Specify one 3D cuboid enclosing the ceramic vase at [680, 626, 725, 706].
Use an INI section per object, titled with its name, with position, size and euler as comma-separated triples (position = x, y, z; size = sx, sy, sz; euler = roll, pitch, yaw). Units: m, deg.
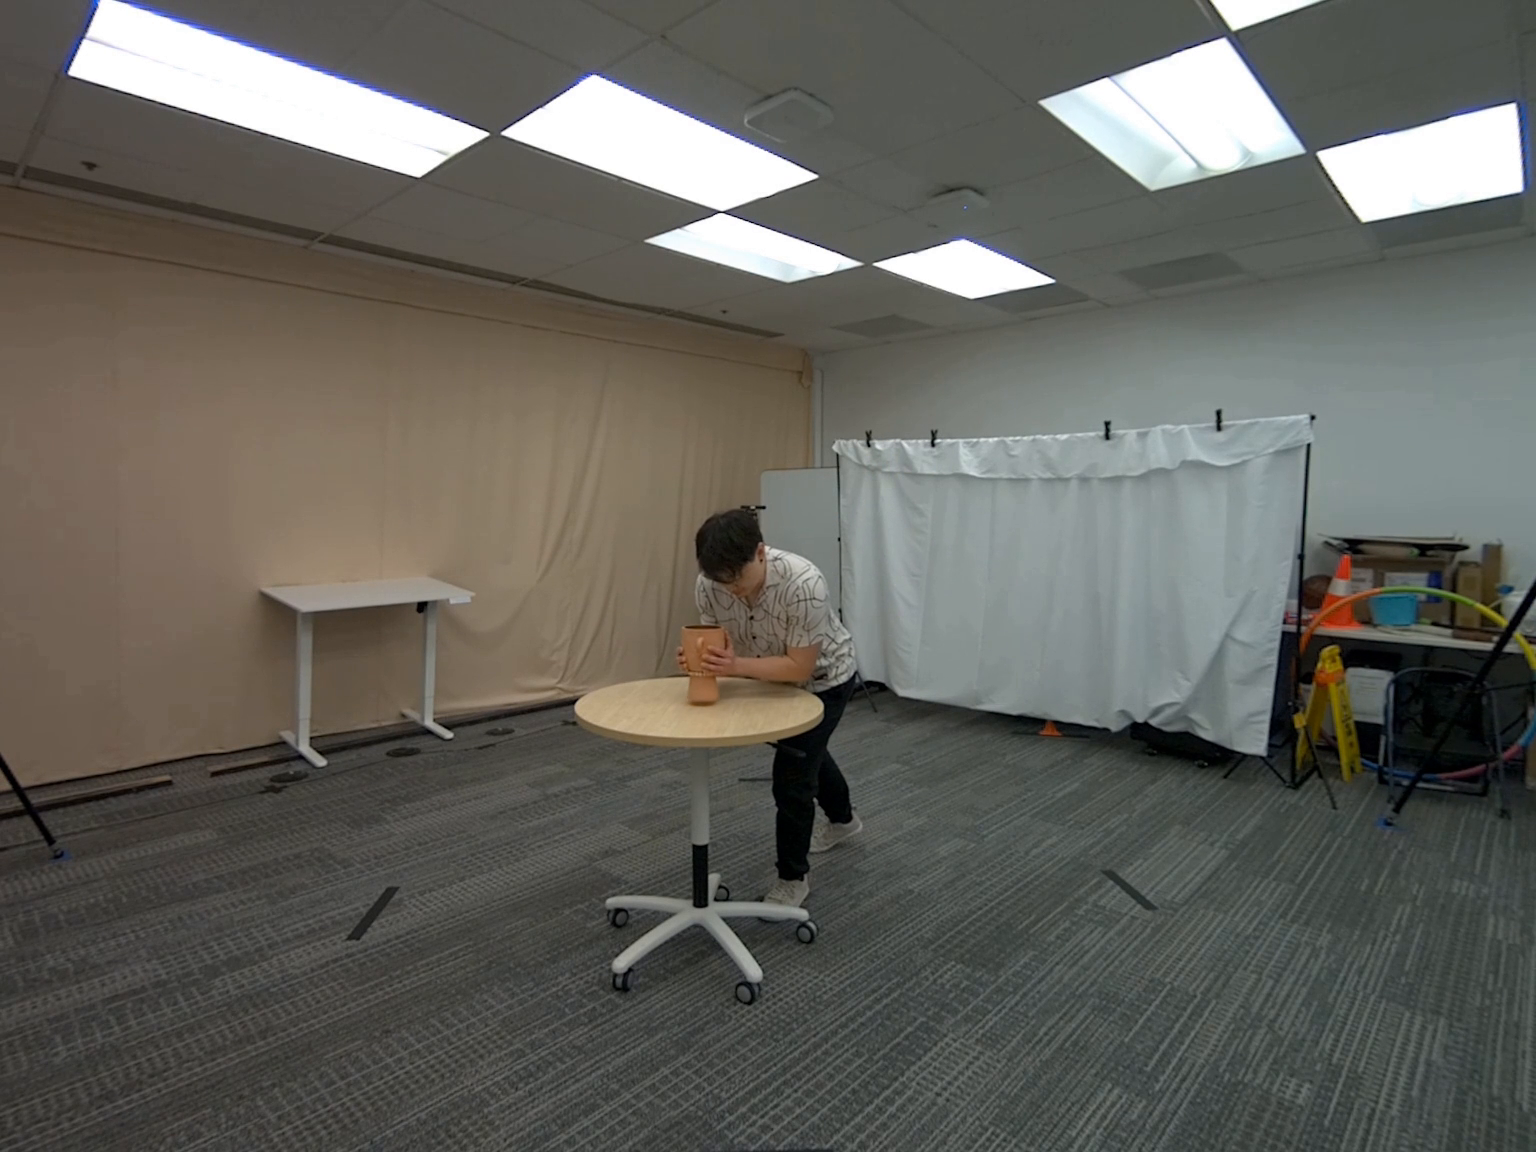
[ceramic vase]
position = -0.196, 0.269, 2.601
size = 0.139, 0.219, 0.154
euler = 4, 4, 41
